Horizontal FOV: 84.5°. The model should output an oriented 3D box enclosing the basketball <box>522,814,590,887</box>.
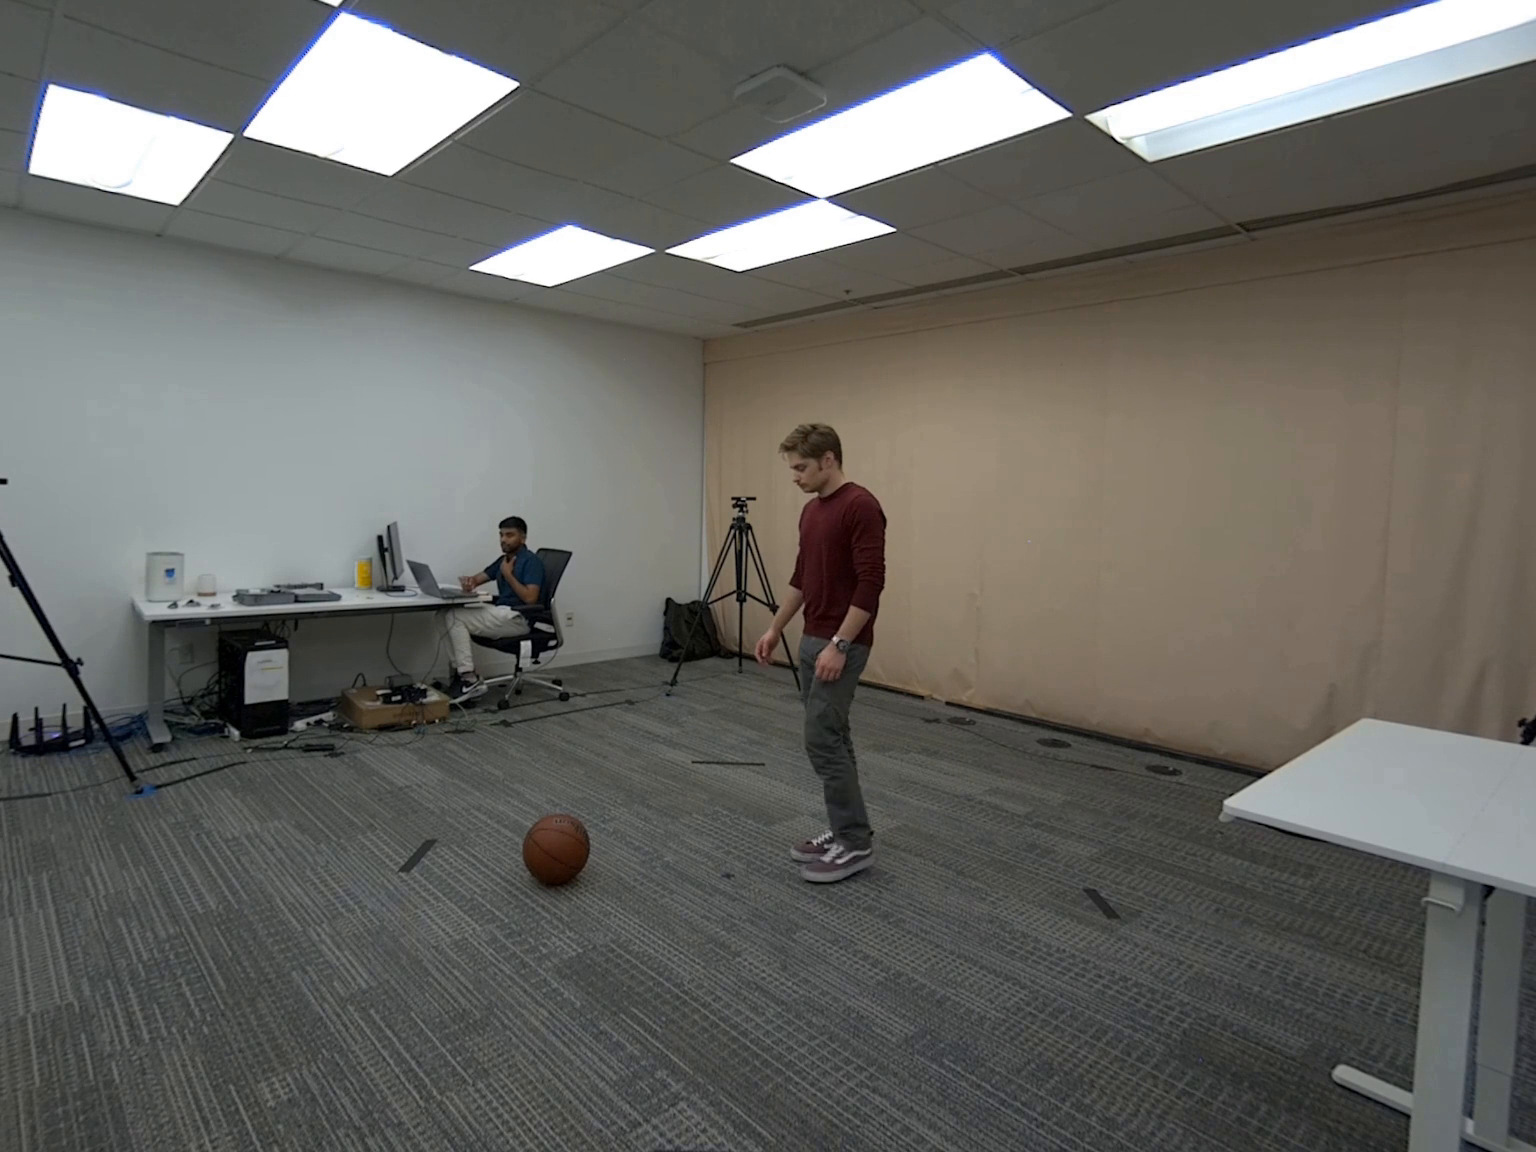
[{"bbox_3d":[-0.767,0.982,3.027,0.236,0.235,0.237,1,4,-1],"label":"basketball"}]
